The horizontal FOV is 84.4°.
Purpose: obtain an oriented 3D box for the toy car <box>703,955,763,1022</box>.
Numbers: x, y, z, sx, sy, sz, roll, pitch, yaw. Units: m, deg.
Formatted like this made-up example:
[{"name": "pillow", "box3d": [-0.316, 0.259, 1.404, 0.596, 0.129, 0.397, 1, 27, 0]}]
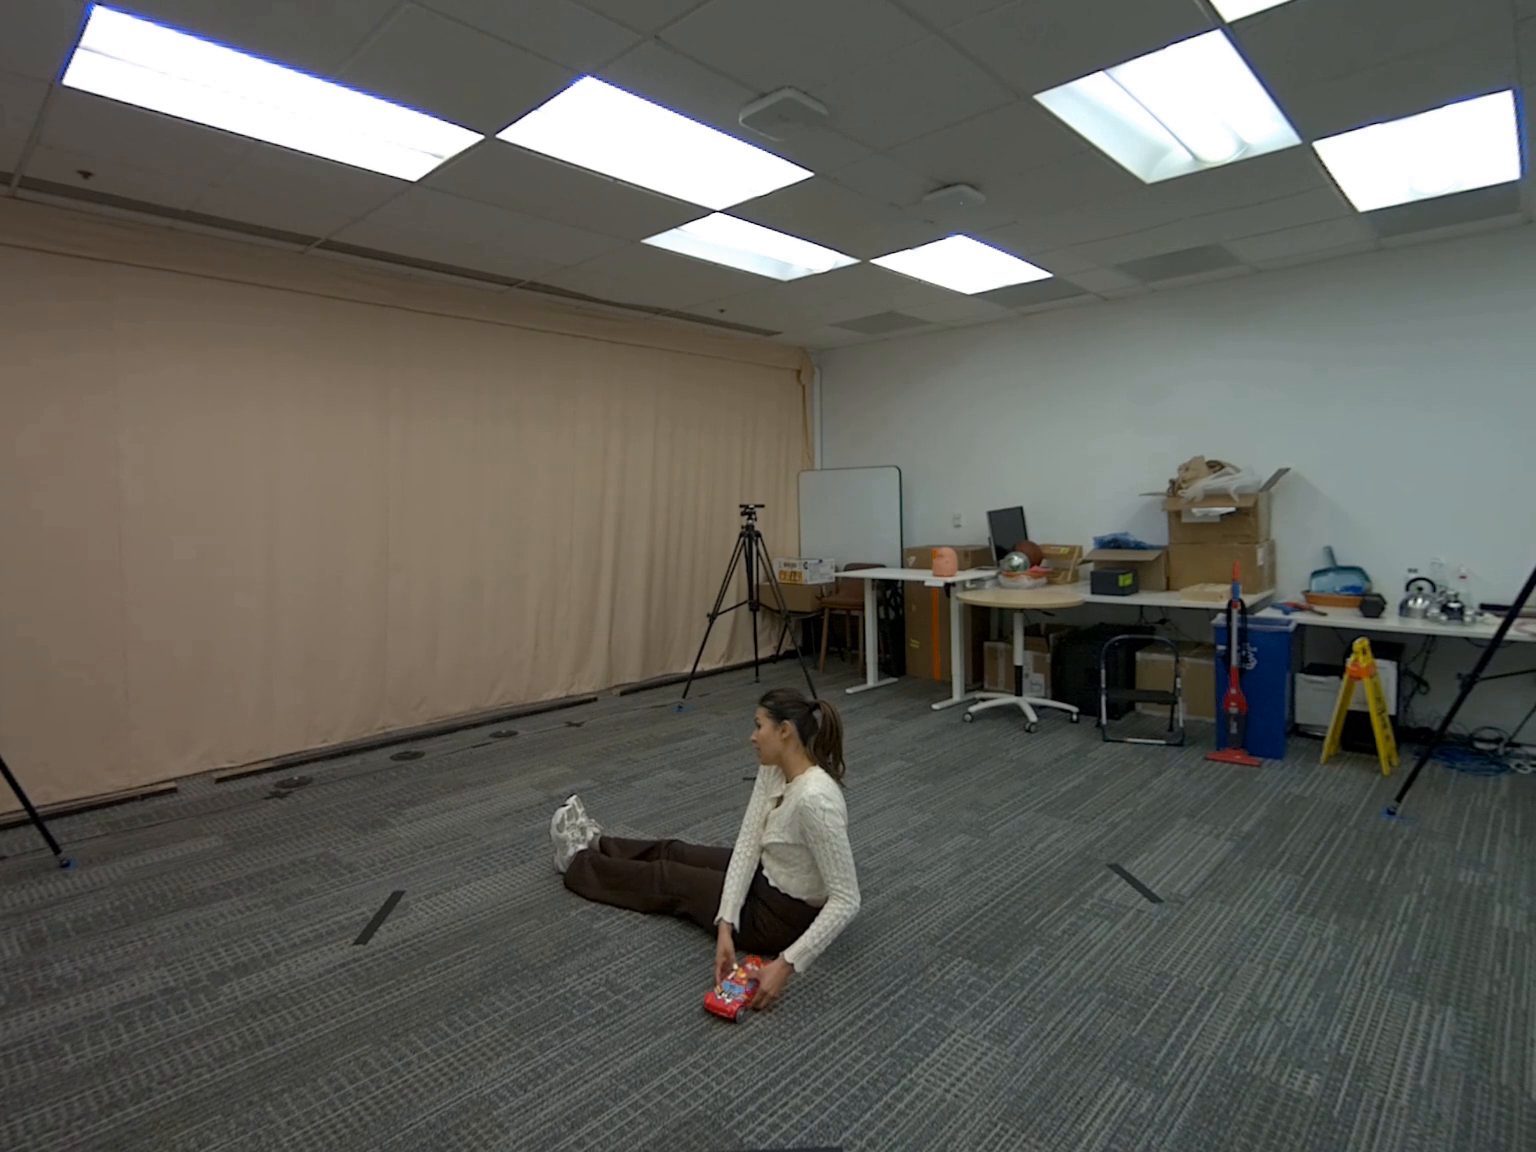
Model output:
[{"name": "toy car", "box3d": [-0.077, 1.154, 2.375, 0.134, 0.082, 0.249, 1, 15, 34]}]
